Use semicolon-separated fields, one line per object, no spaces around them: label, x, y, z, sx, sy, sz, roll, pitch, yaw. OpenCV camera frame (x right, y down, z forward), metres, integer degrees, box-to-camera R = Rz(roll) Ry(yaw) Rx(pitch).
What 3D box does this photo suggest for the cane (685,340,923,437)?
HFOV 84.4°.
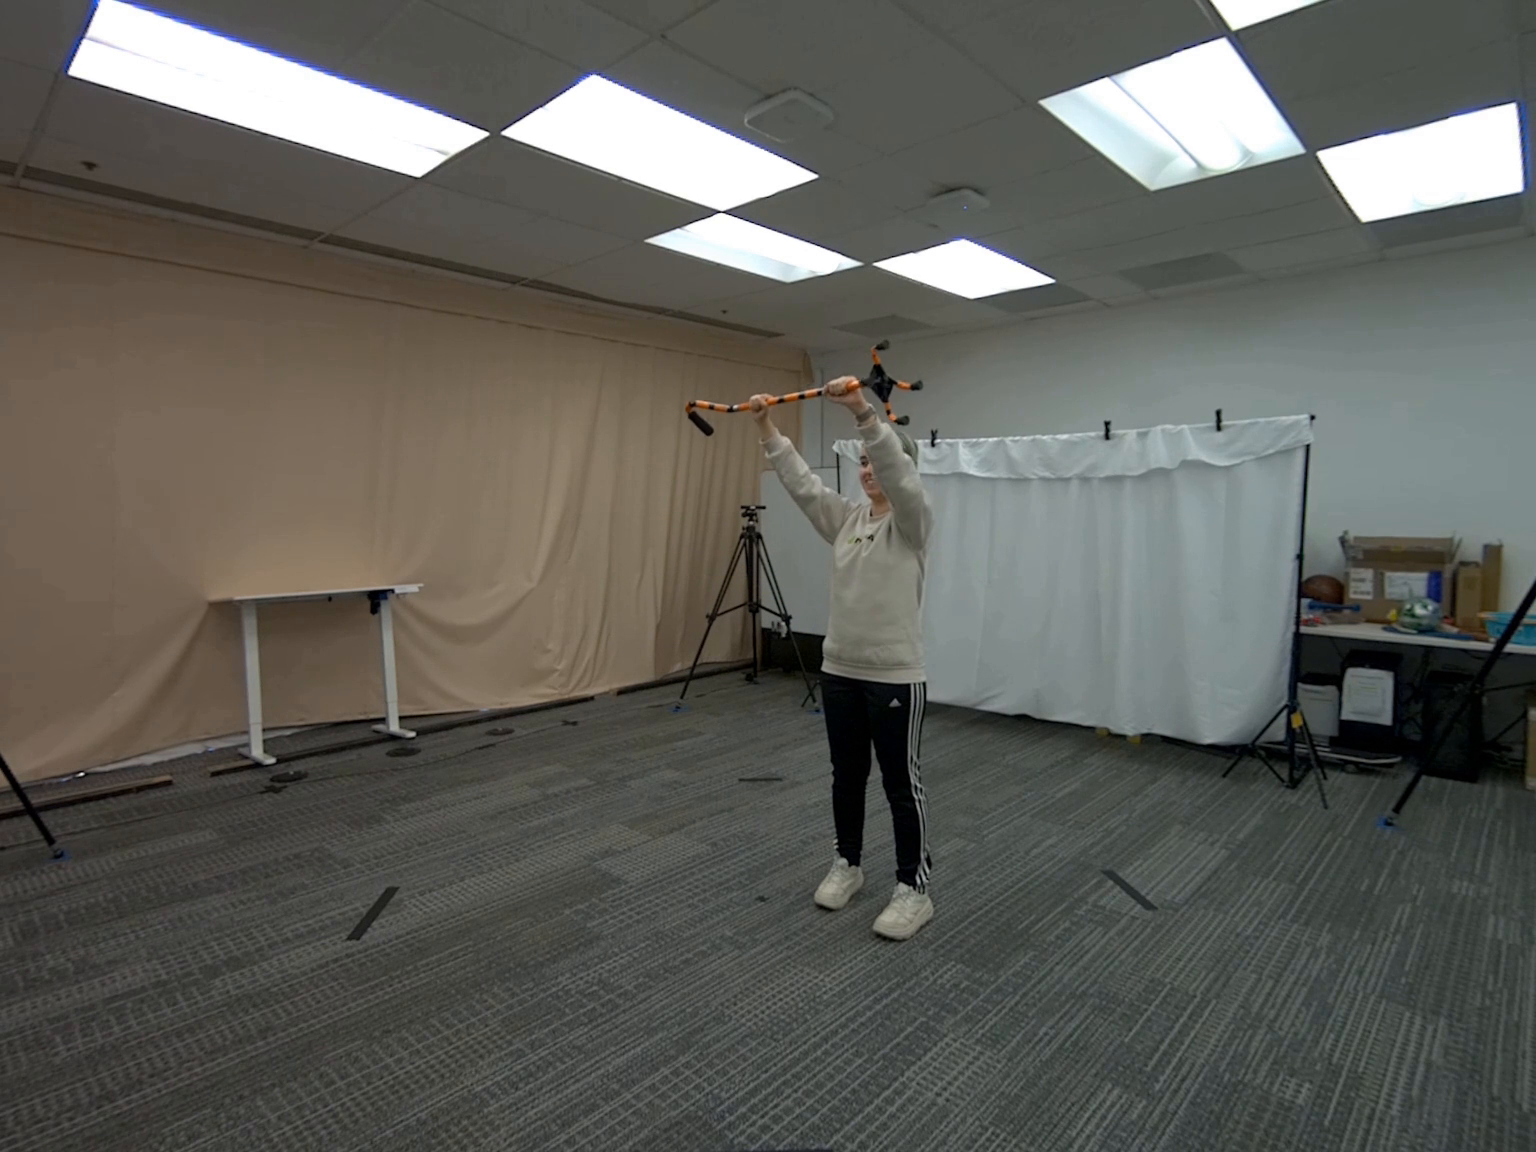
cane;0.038;-0.541;2.651;0.937;0.152;0.199;2;-31;49
